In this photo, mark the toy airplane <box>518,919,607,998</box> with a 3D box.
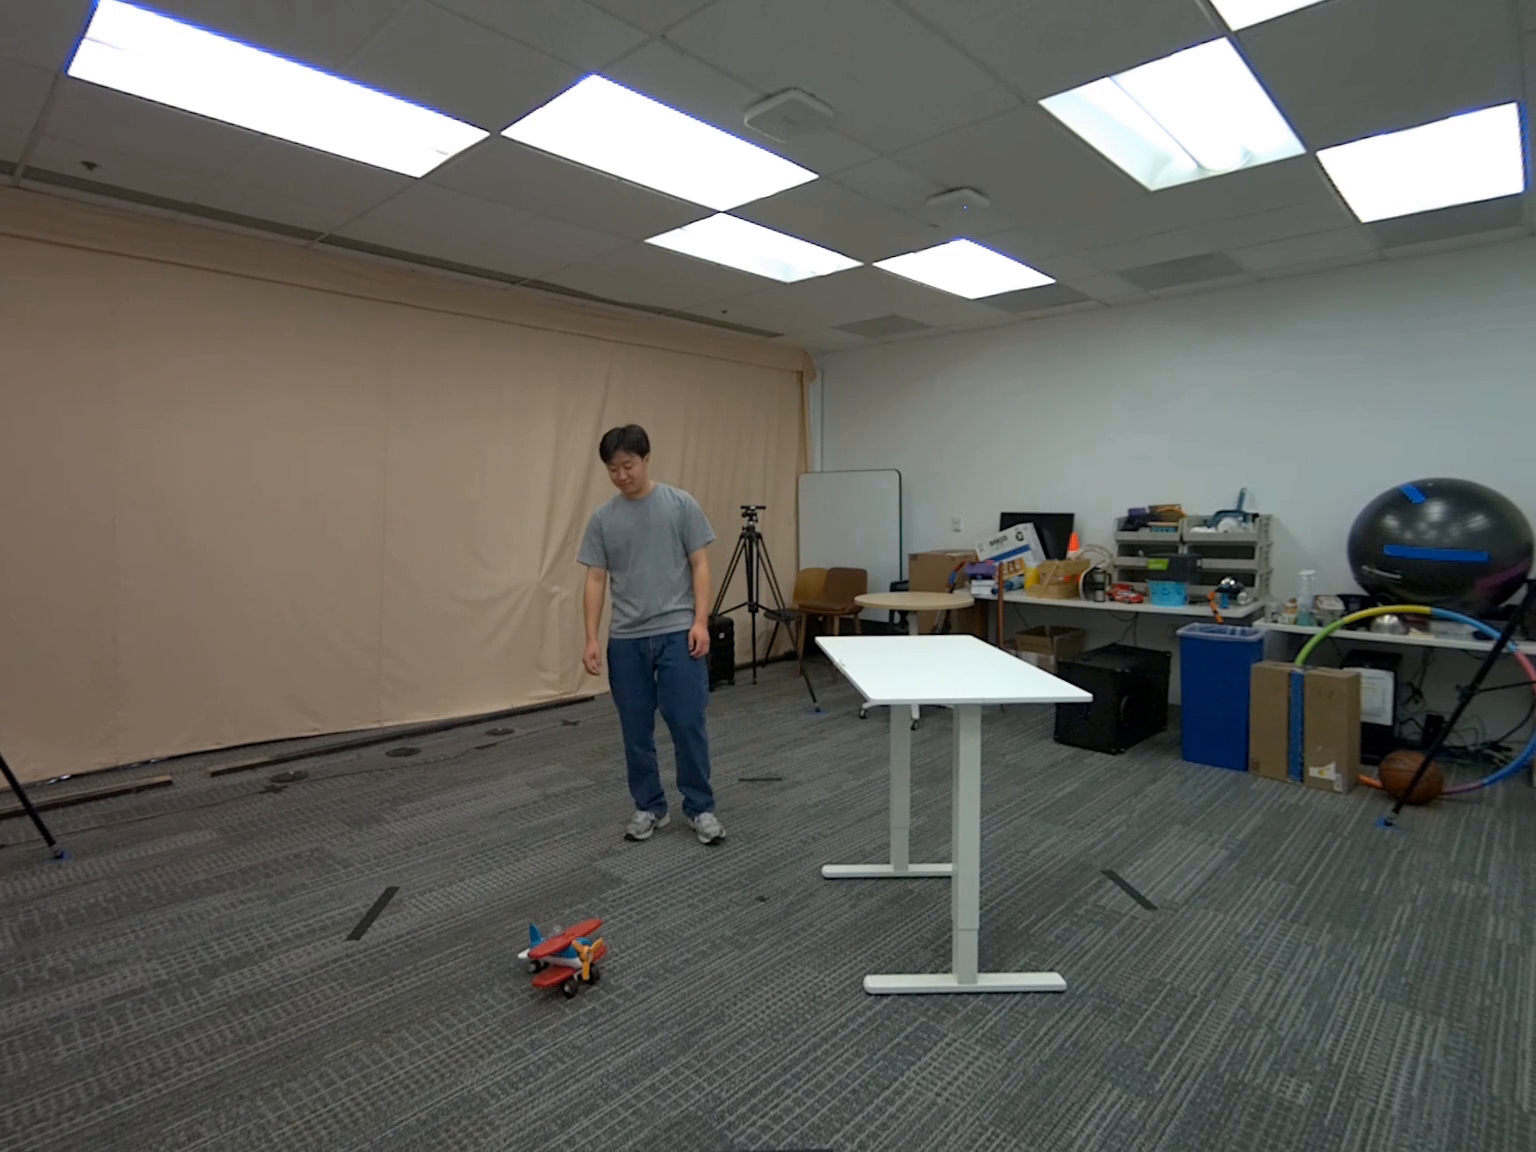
[{"bbox_3d":[-0.620,1.112,2.462,0.262,0.156,0.249,3,4,8],"label":"toy airplane"}]
